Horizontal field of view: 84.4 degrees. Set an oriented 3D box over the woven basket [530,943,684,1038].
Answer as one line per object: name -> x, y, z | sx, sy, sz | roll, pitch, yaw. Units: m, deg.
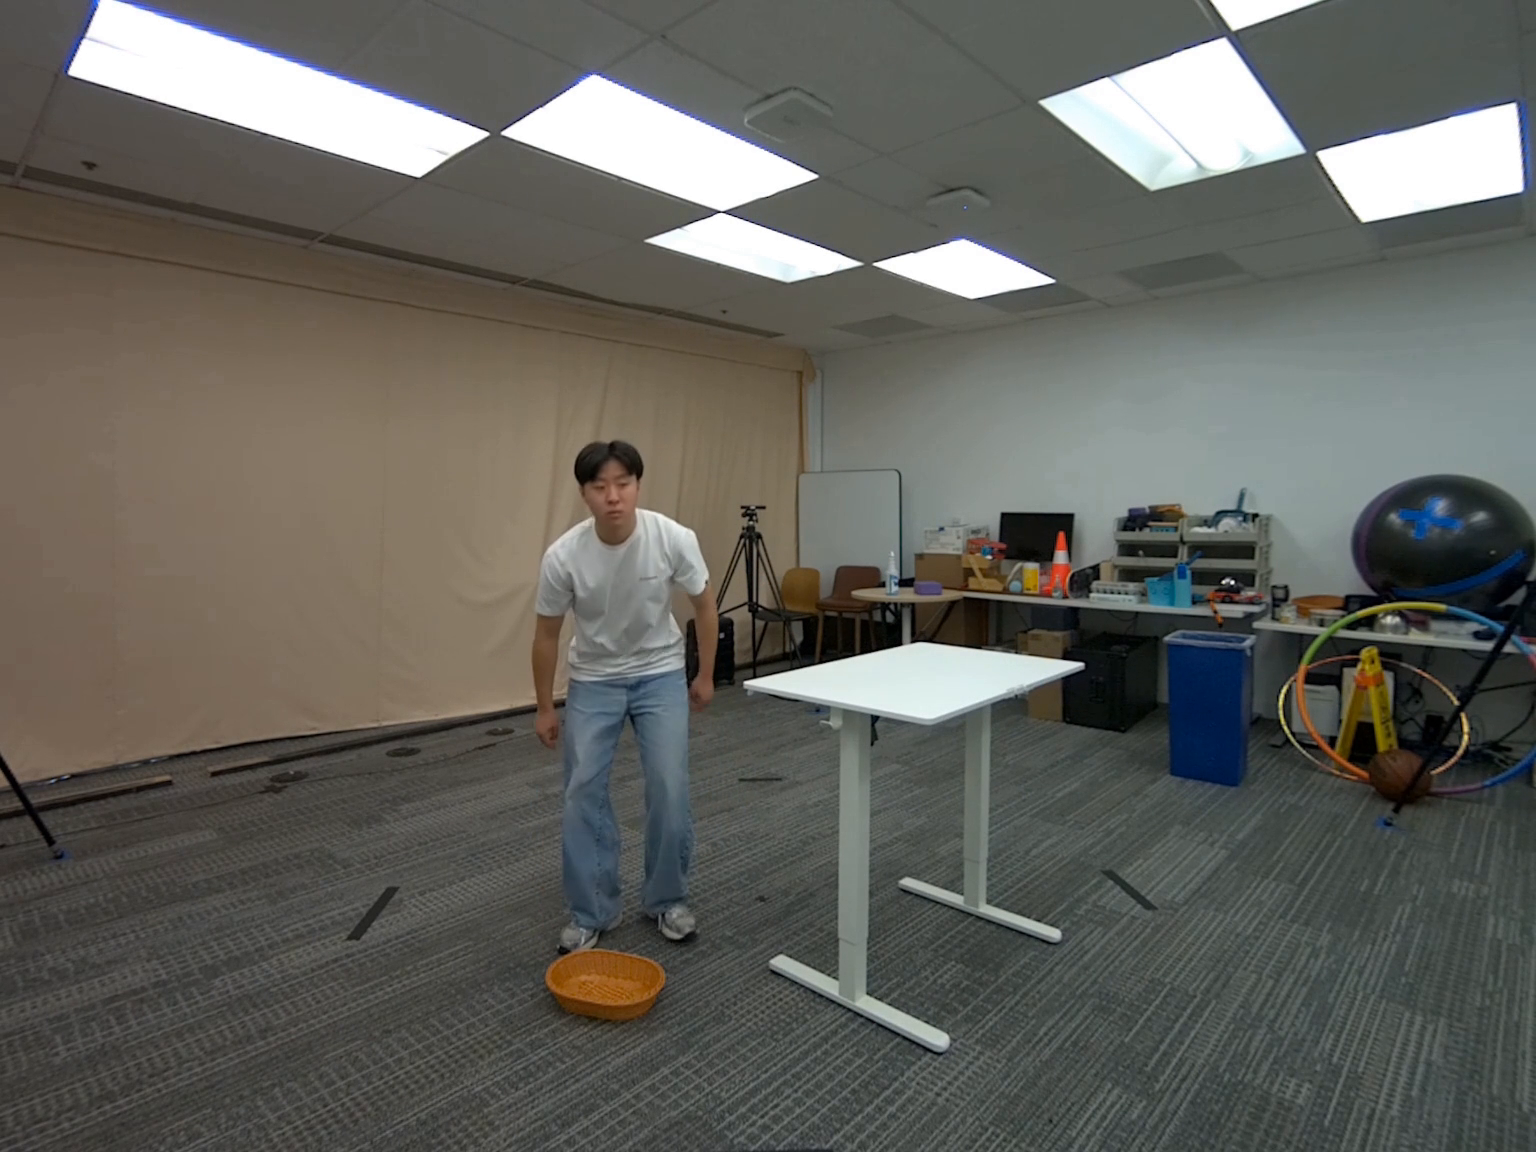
woven basket -> -0.450, 1.150, 2.385 | 0.358, 0.073, 0.248 | 2, 5, 19
